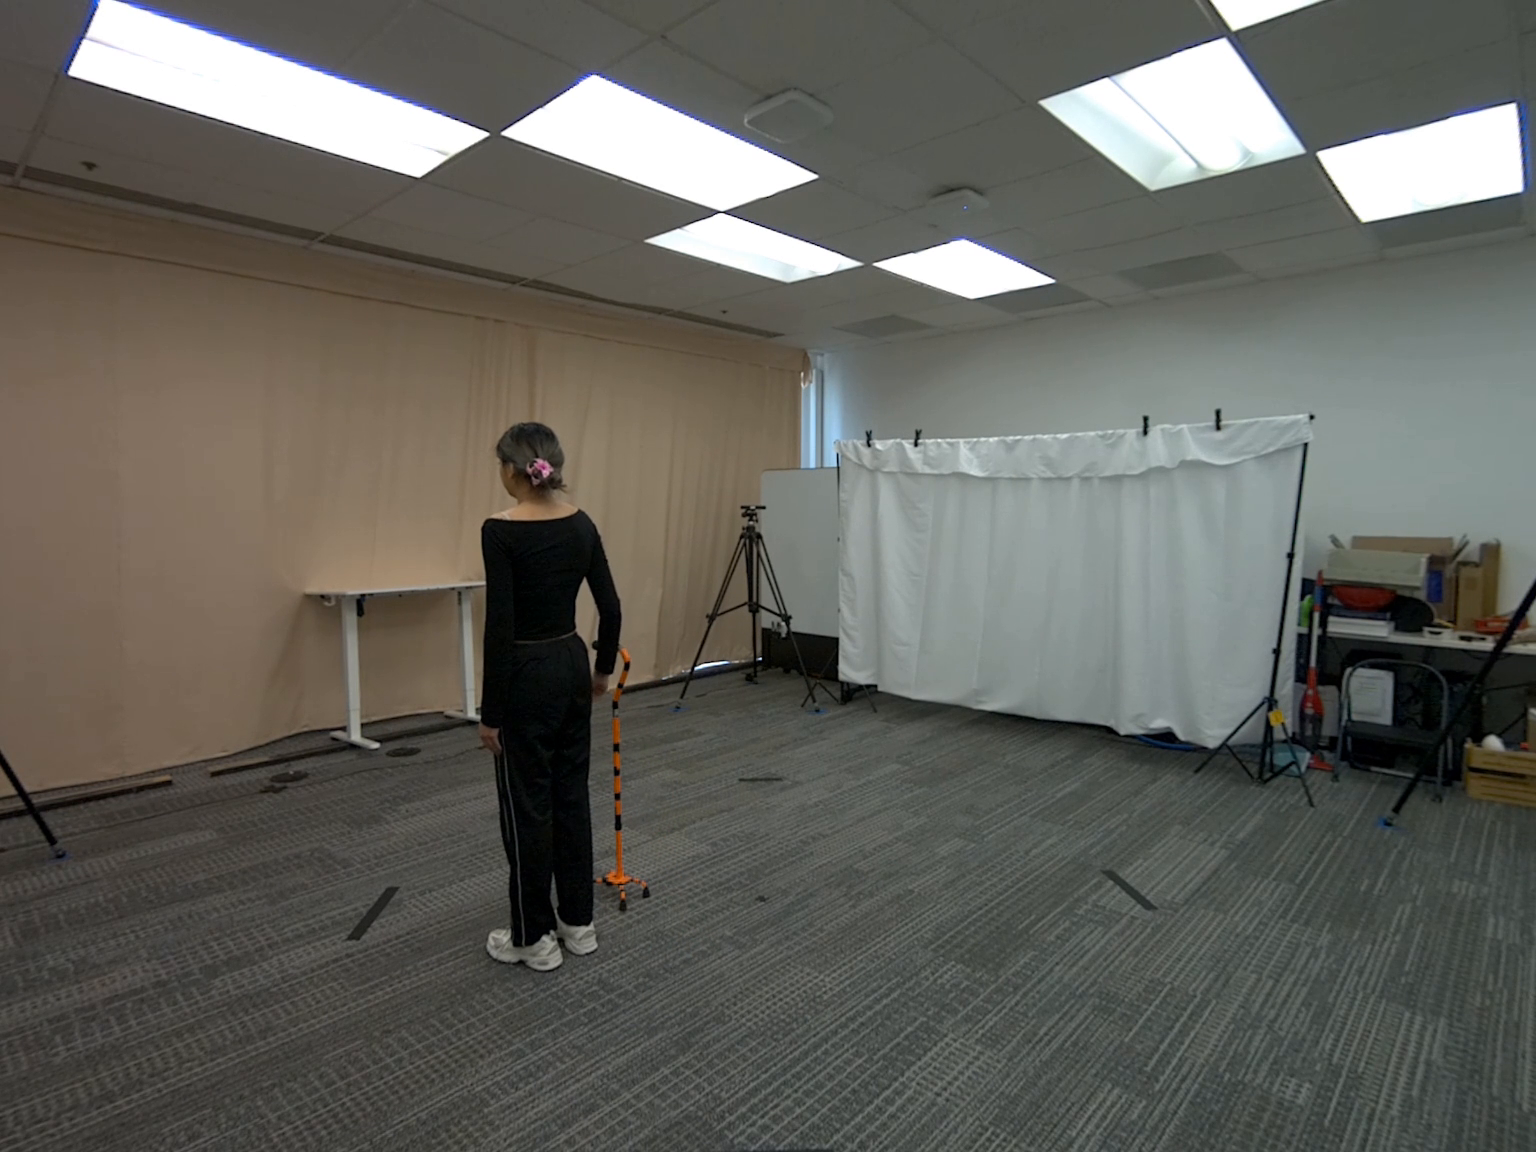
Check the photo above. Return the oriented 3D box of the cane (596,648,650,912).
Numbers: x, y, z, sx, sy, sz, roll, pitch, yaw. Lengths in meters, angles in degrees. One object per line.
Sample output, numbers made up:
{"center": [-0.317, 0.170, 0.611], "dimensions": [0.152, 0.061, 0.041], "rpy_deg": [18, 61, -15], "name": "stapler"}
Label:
{"center": [-0.546, 0.693, 2.987], "dimensions": [0.213, 0.906, 0.147], "rpy_deg": [2, 3, 34], "name": "cane"}
